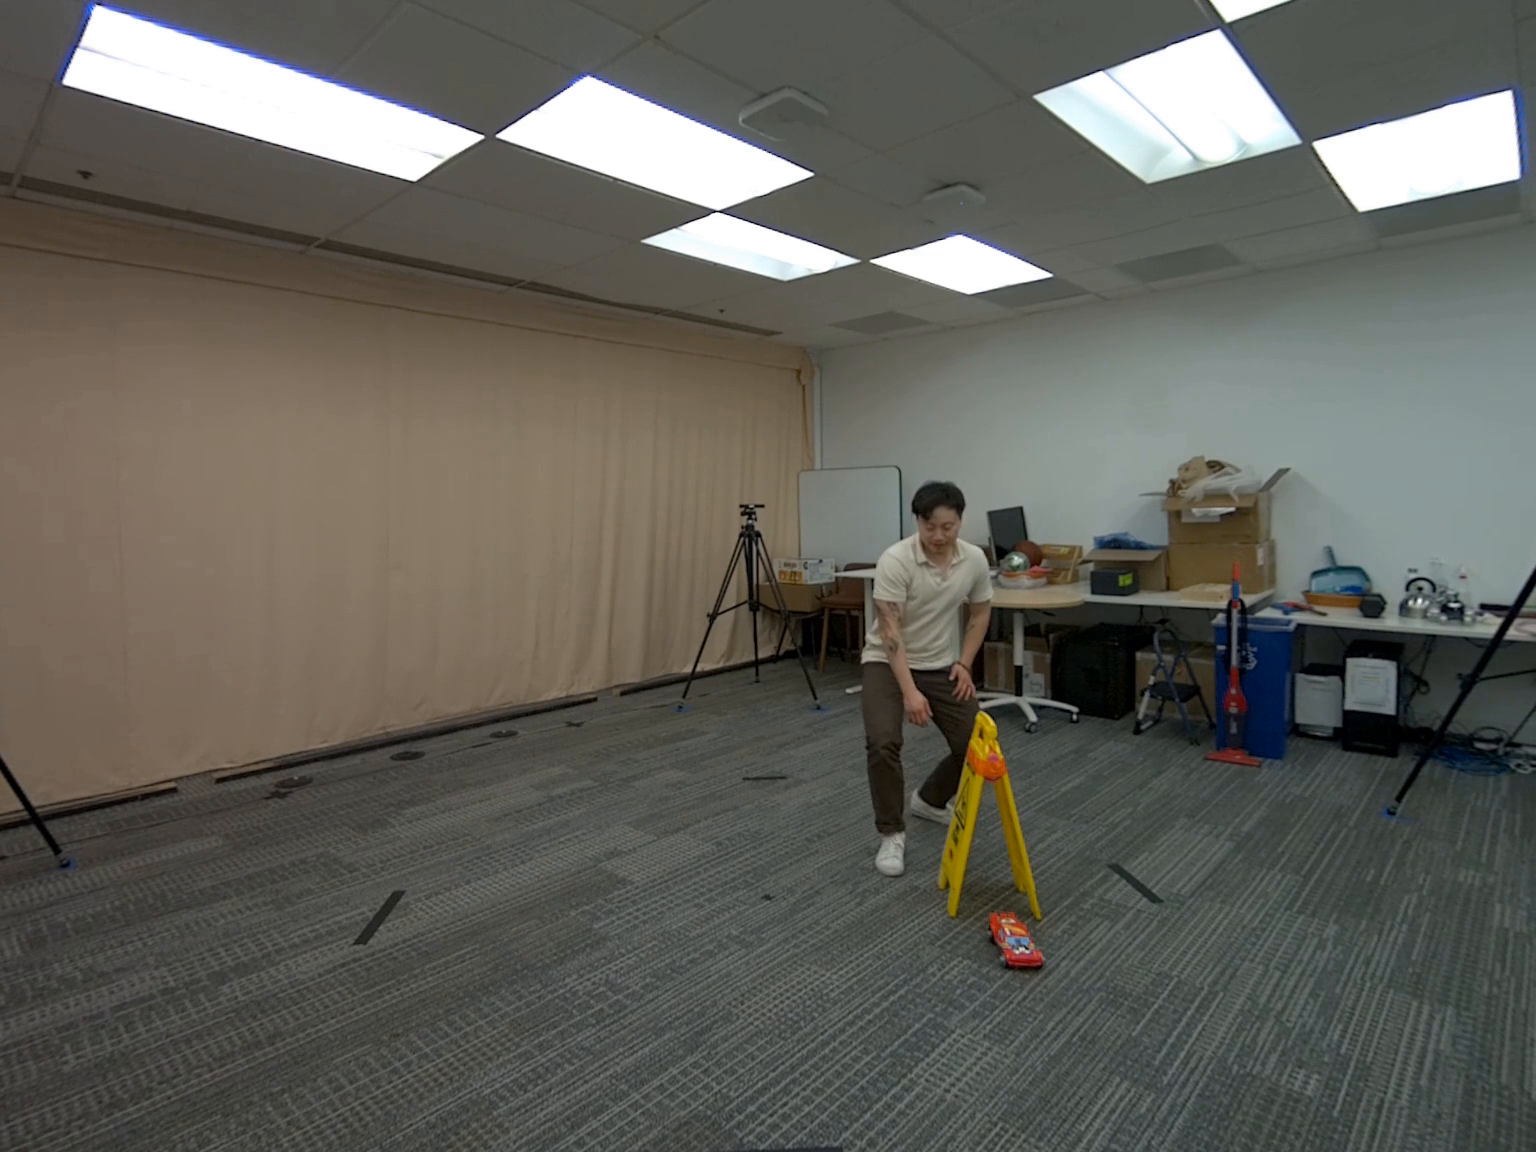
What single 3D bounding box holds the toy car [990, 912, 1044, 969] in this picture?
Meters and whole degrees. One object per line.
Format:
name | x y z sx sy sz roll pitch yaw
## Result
toy car | 0.754 1.120 2.603 0.131 0.082 0.256 -2 15 1
